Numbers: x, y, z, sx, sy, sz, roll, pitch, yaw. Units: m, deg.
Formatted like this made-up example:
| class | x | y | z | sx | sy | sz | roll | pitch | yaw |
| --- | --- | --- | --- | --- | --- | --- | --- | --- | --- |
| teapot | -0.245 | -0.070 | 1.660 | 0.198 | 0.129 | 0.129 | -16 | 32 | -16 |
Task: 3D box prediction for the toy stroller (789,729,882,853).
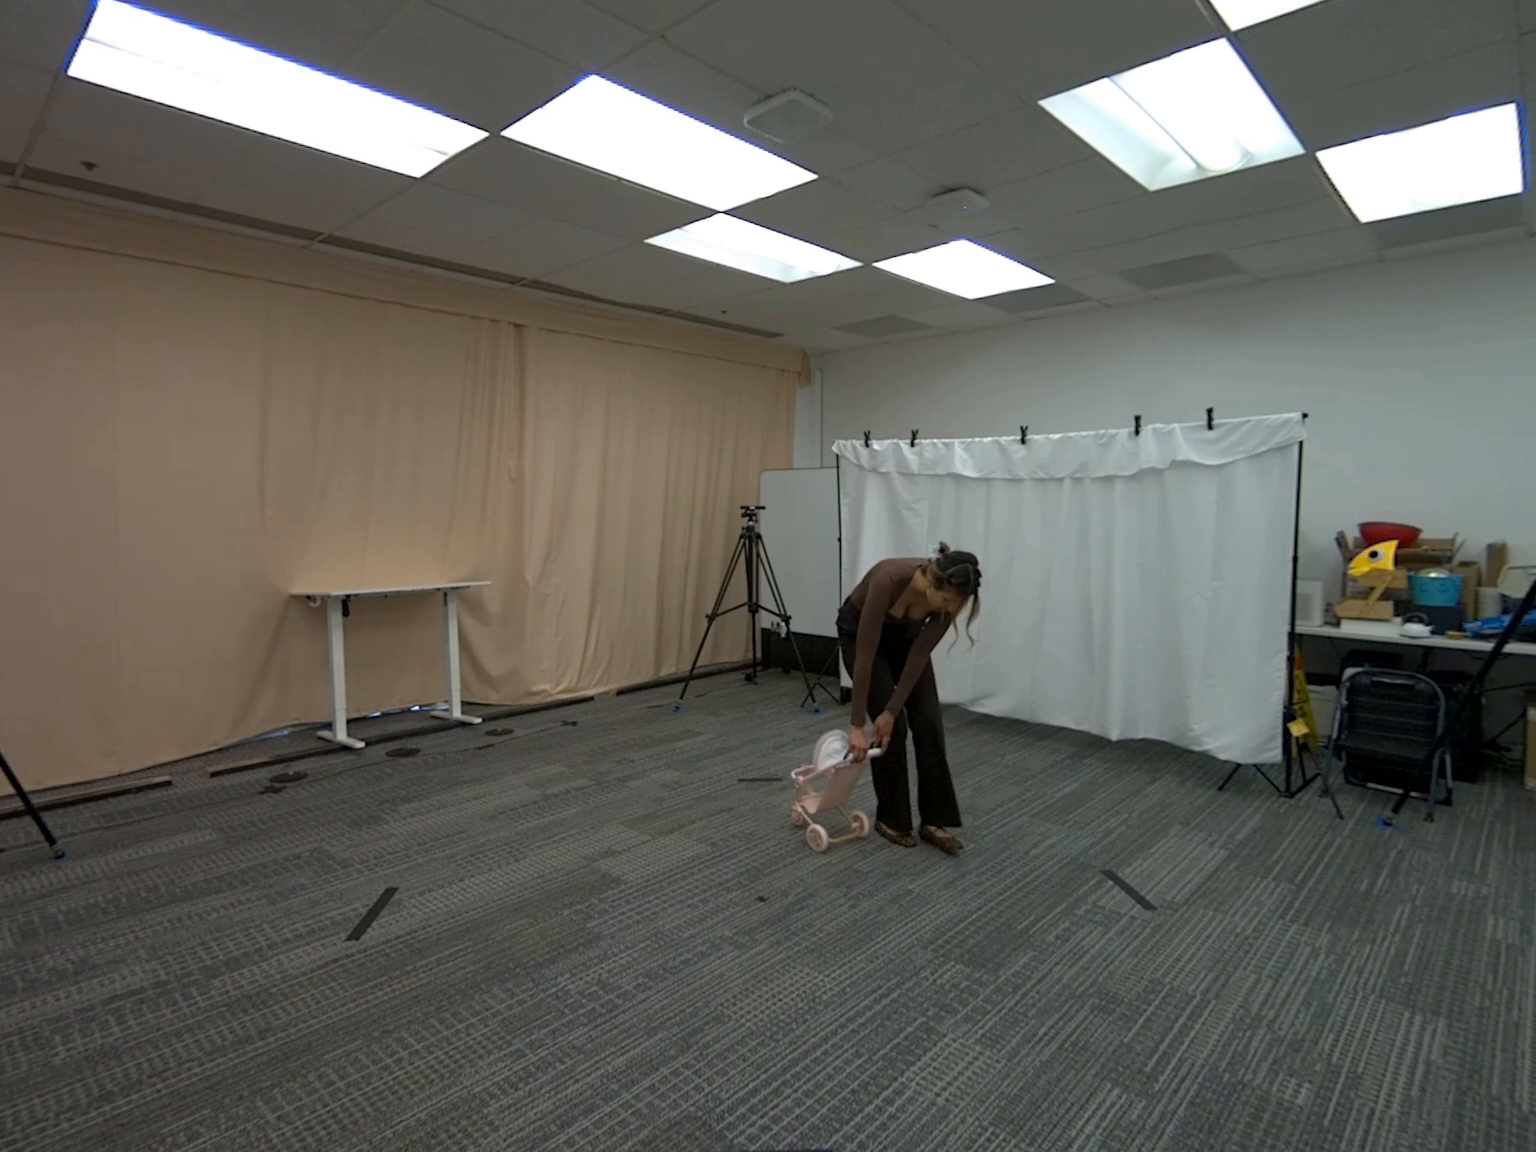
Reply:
| class | x | y | z | sx | sy | sz | roll | pitch | yaw |
| --- | --- | --- | --- | --- | --- | --- | --- | --- | --- |
| toy stroller | 0.257 | 0.874 | 3.509 | 0.273 | 0.531 | 0.354 | -1 | 20 | -36 |
